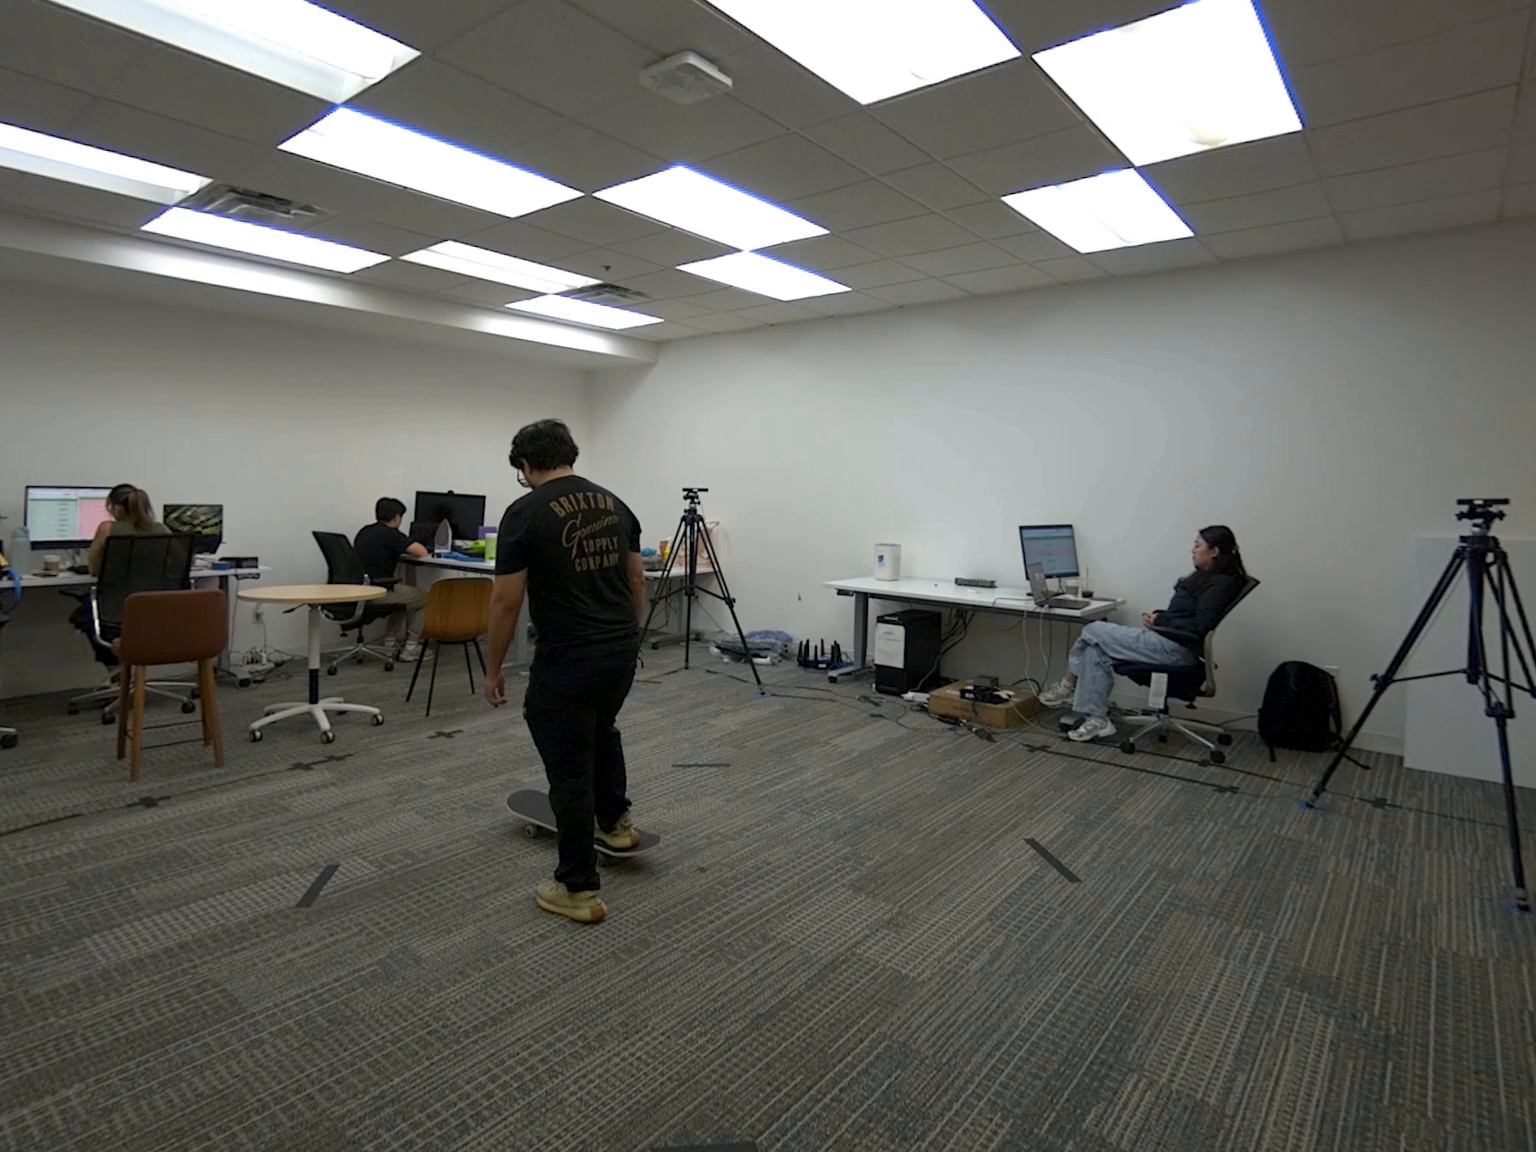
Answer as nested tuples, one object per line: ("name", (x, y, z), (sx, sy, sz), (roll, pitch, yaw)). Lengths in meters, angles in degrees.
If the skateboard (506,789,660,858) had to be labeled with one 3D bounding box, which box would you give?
("skateboard", (-0.745, 0.985, 3.300), (0.812, 0.109, 0.188), (6, 11, 36))
